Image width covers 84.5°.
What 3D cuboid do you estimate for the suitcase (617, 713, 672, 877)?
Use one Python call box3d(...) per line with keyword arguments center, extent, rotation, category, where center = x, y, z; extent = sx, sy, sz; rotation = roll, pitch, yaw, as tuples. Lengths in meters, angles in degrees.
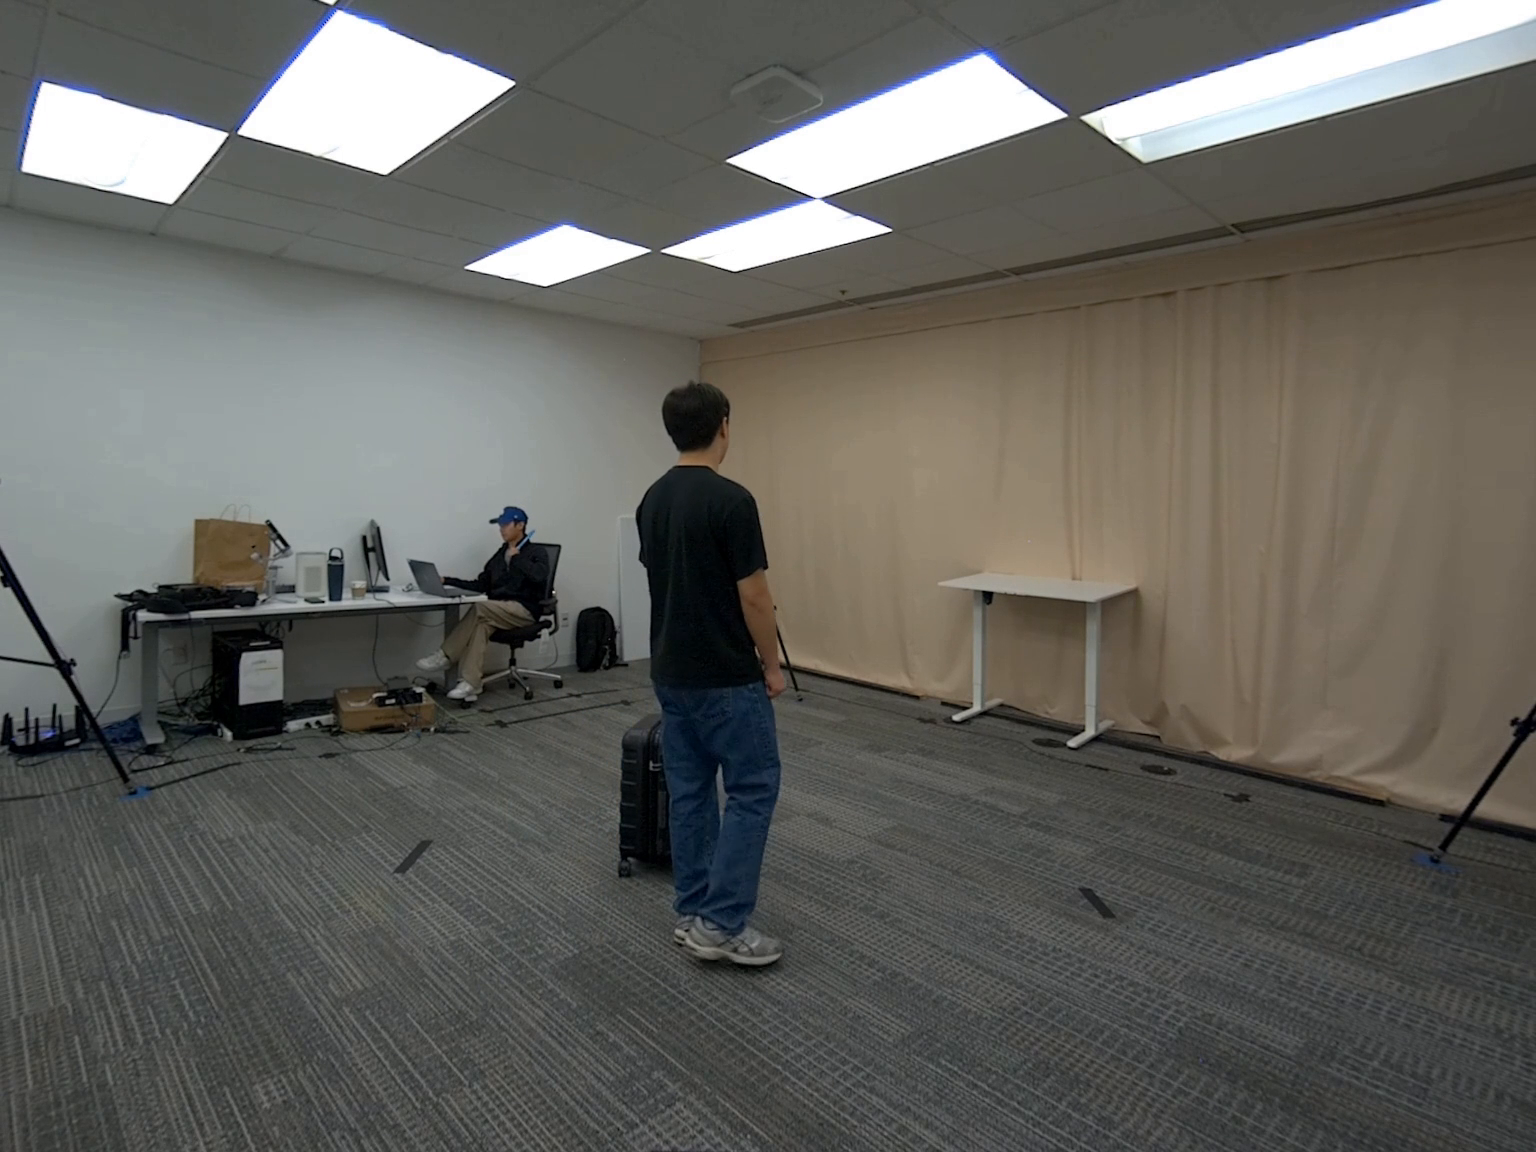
box3d(center=(-0.421, 0.617, 3.216), extent=(0.259, 0.978, 0.381), rotation=(0, 1, 8), category="suitcase")
